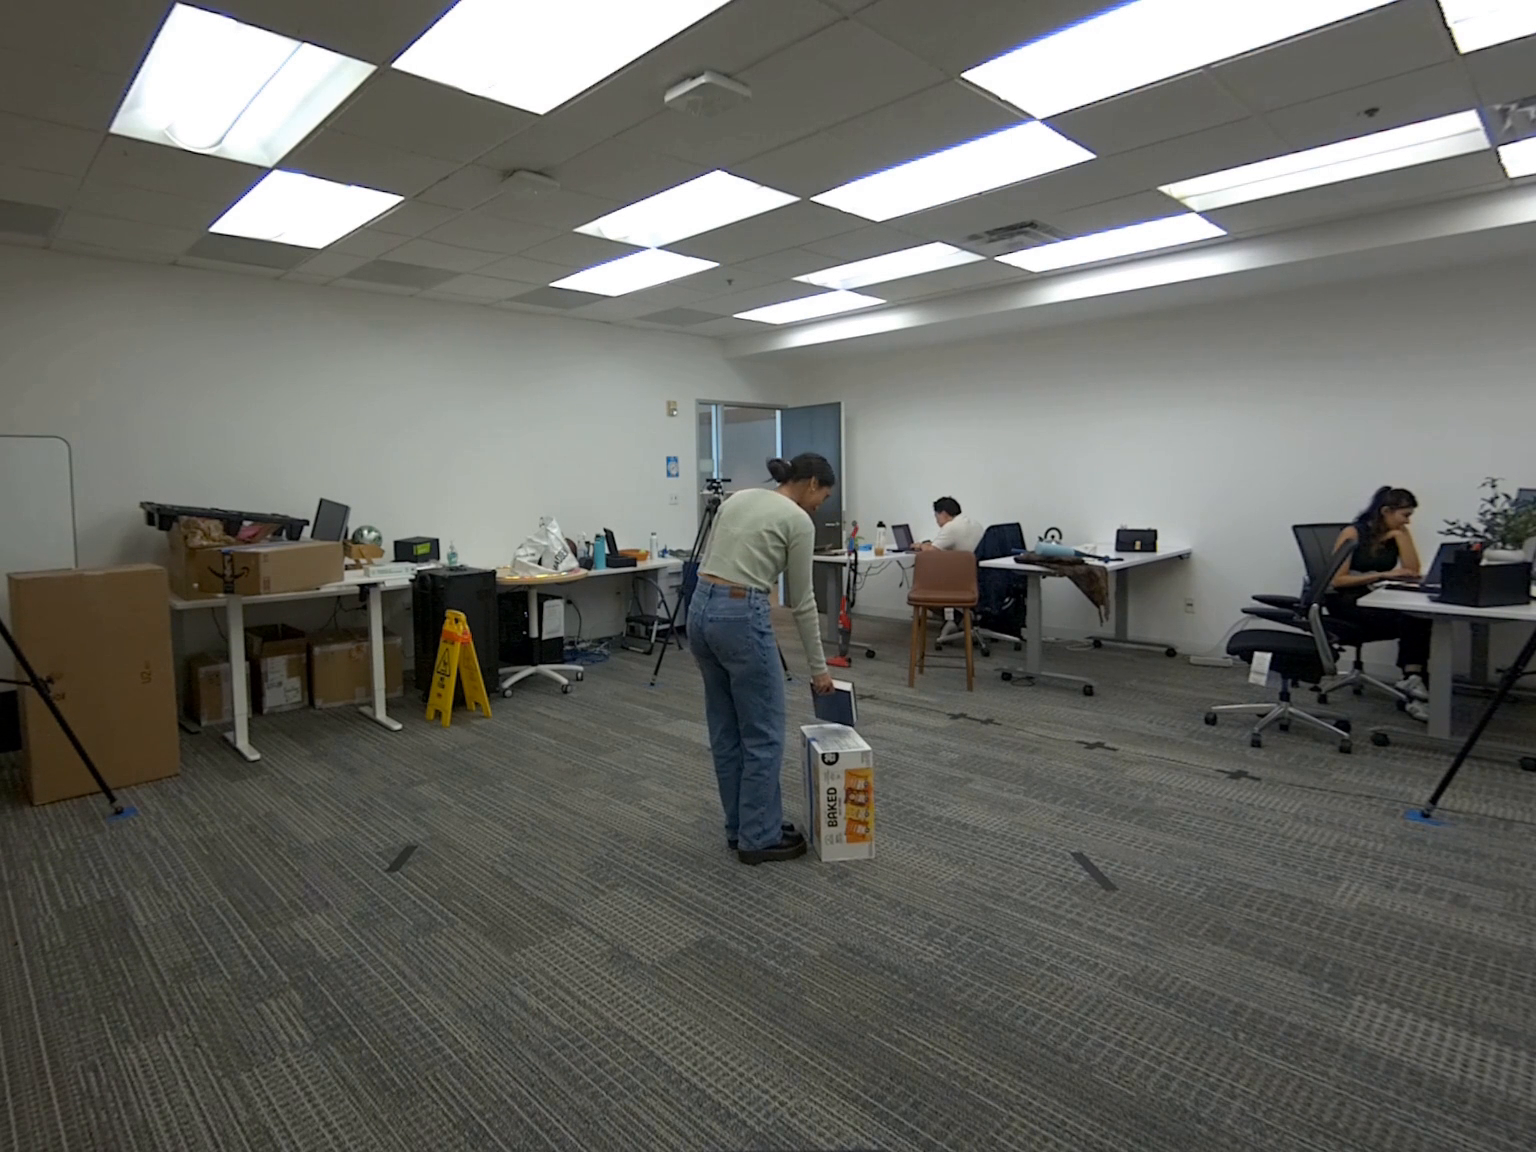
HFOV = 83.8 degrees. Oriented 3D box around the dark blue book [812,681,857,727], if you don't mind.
[{"bbox_3d":[0.252,0.477,3.294,0.167,0.237,0.045,11,50,22],"label":"dark blue book"}]
